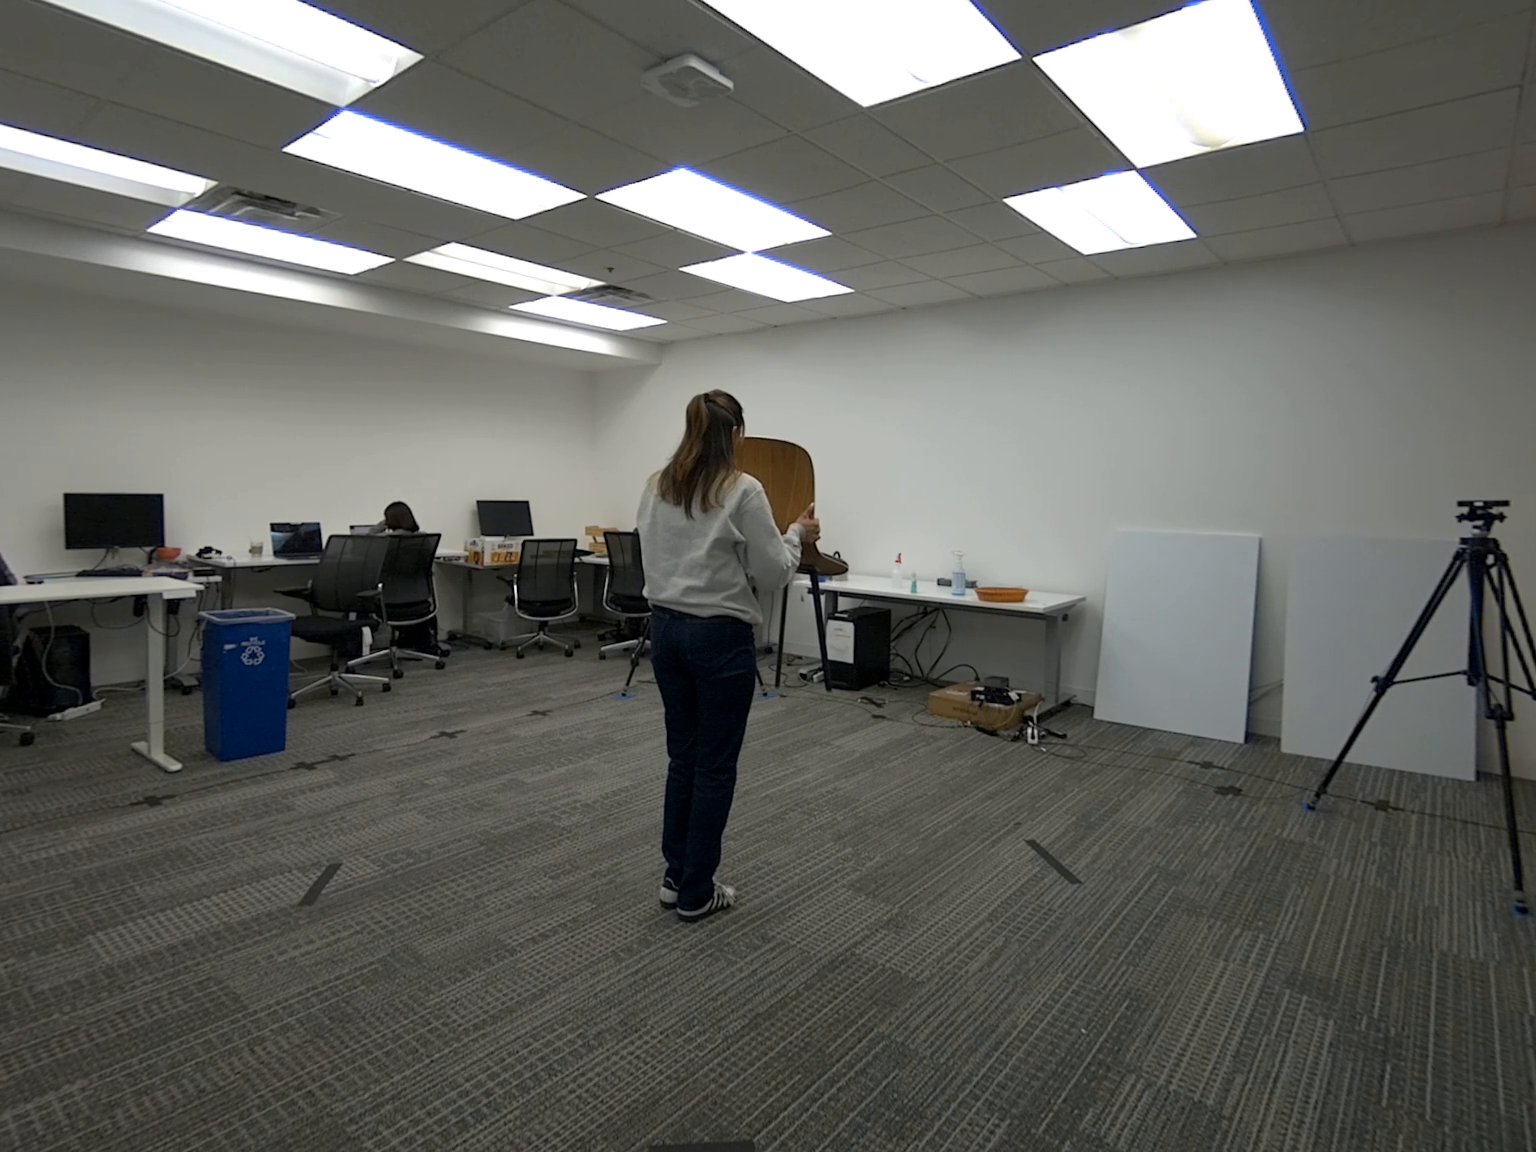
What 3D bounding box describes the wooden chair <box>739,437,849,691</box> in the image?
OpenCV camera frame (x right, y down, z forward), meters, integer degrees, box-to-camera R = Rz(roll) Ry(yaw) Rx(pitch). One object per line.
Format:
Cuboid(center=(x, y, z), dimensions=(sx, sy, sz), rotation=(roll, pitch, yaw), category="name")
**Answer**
Cuboid(center=(0.009, -0.040, 3.195), dimensions=(0.493, 0.879, 0.506), rotation=(7, -2, 30), category="wooden chair")
